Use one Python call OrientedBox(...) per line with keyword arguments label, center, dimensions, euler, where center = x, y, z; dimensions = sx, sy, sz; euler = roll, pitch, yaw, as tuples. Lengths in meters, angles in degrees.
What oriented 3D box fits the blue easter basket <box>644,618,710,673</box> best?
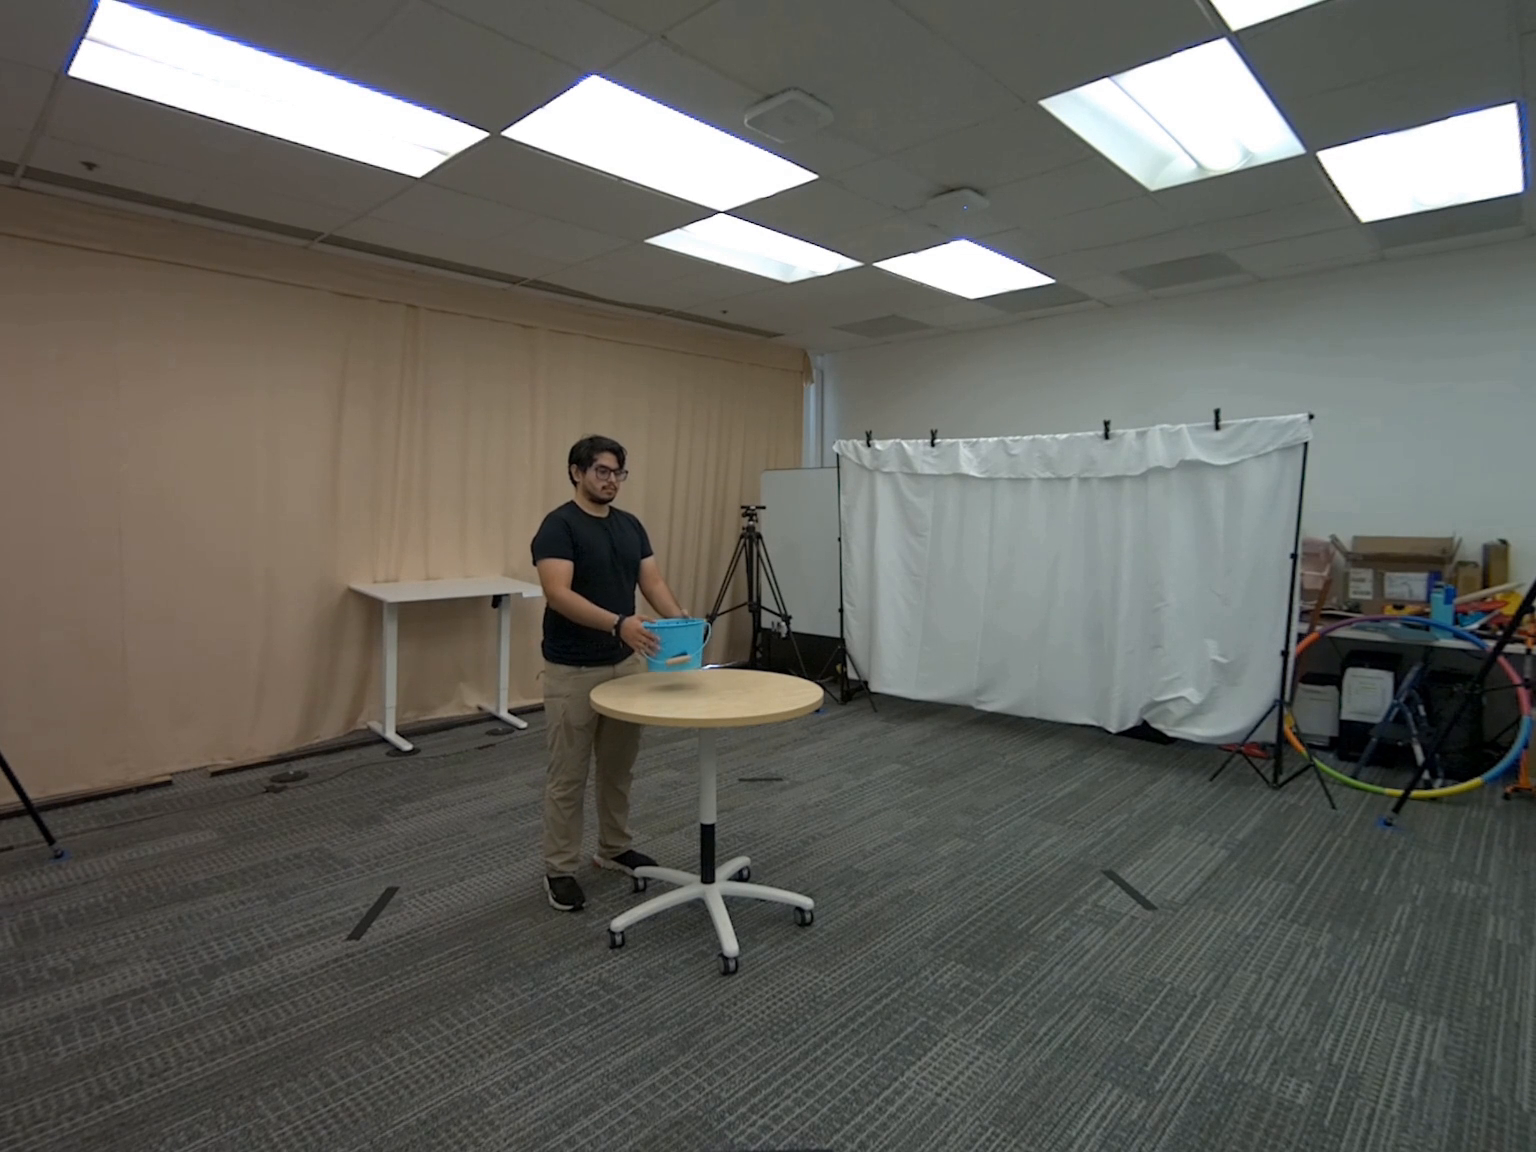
OrientedBox(label="blue easter basket", center=(-0.321, 0.233, 2.799), dimensions=(0.243, 0.156, 0.244), euler=(-5, 2, -2))
